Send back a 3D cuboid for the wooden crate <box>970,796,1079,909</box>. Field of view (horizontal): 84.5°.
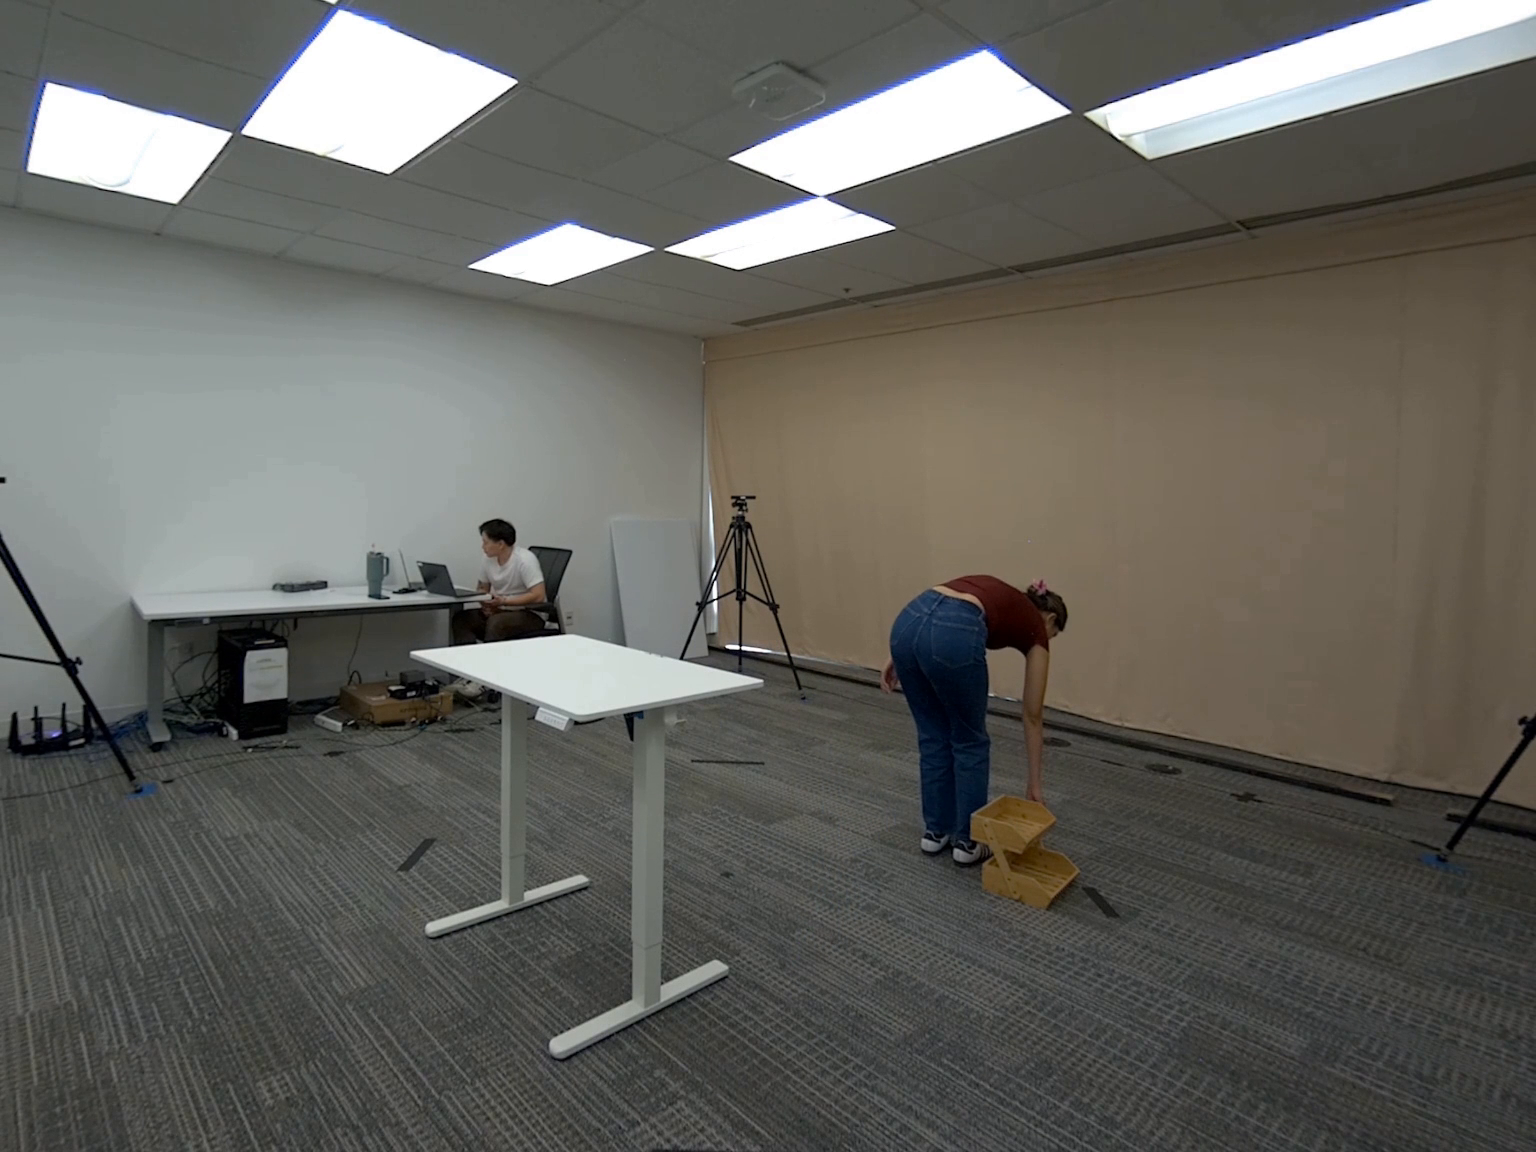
[{"bbox_3d":[0.938,0.998,3.090,0.309,0.273,0.317,4,5,39],"label":"wooden crate"}]
